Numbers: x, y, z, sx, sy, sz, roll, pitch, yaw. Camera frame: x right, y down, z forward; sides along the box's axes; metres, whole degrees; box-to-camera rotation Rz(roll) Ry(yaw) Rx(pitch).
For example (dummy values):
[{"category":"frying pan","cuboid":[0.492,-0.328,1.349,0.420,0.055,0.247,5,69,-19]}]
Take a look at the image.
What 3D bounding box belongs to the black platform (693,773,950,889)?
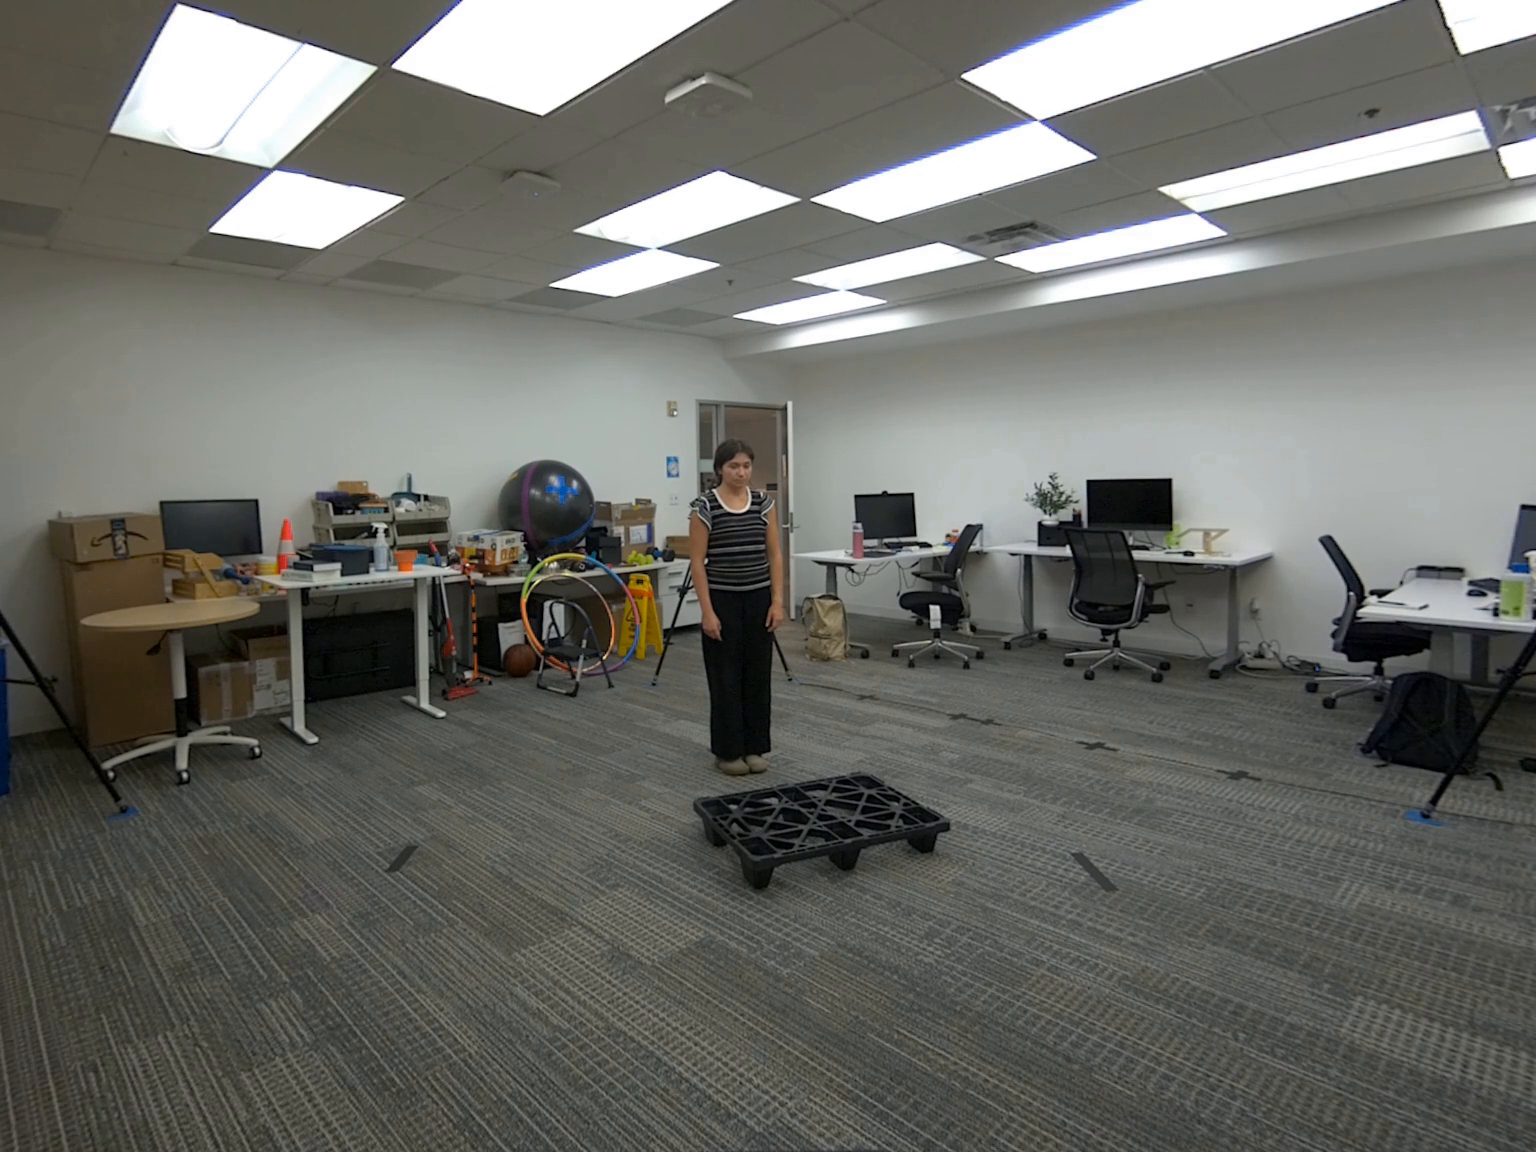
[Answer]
[{"category":"black platform","cuboid":[0.192,0.955,3.254,0.790,0.142,0.620,-4,7,-23]}]
